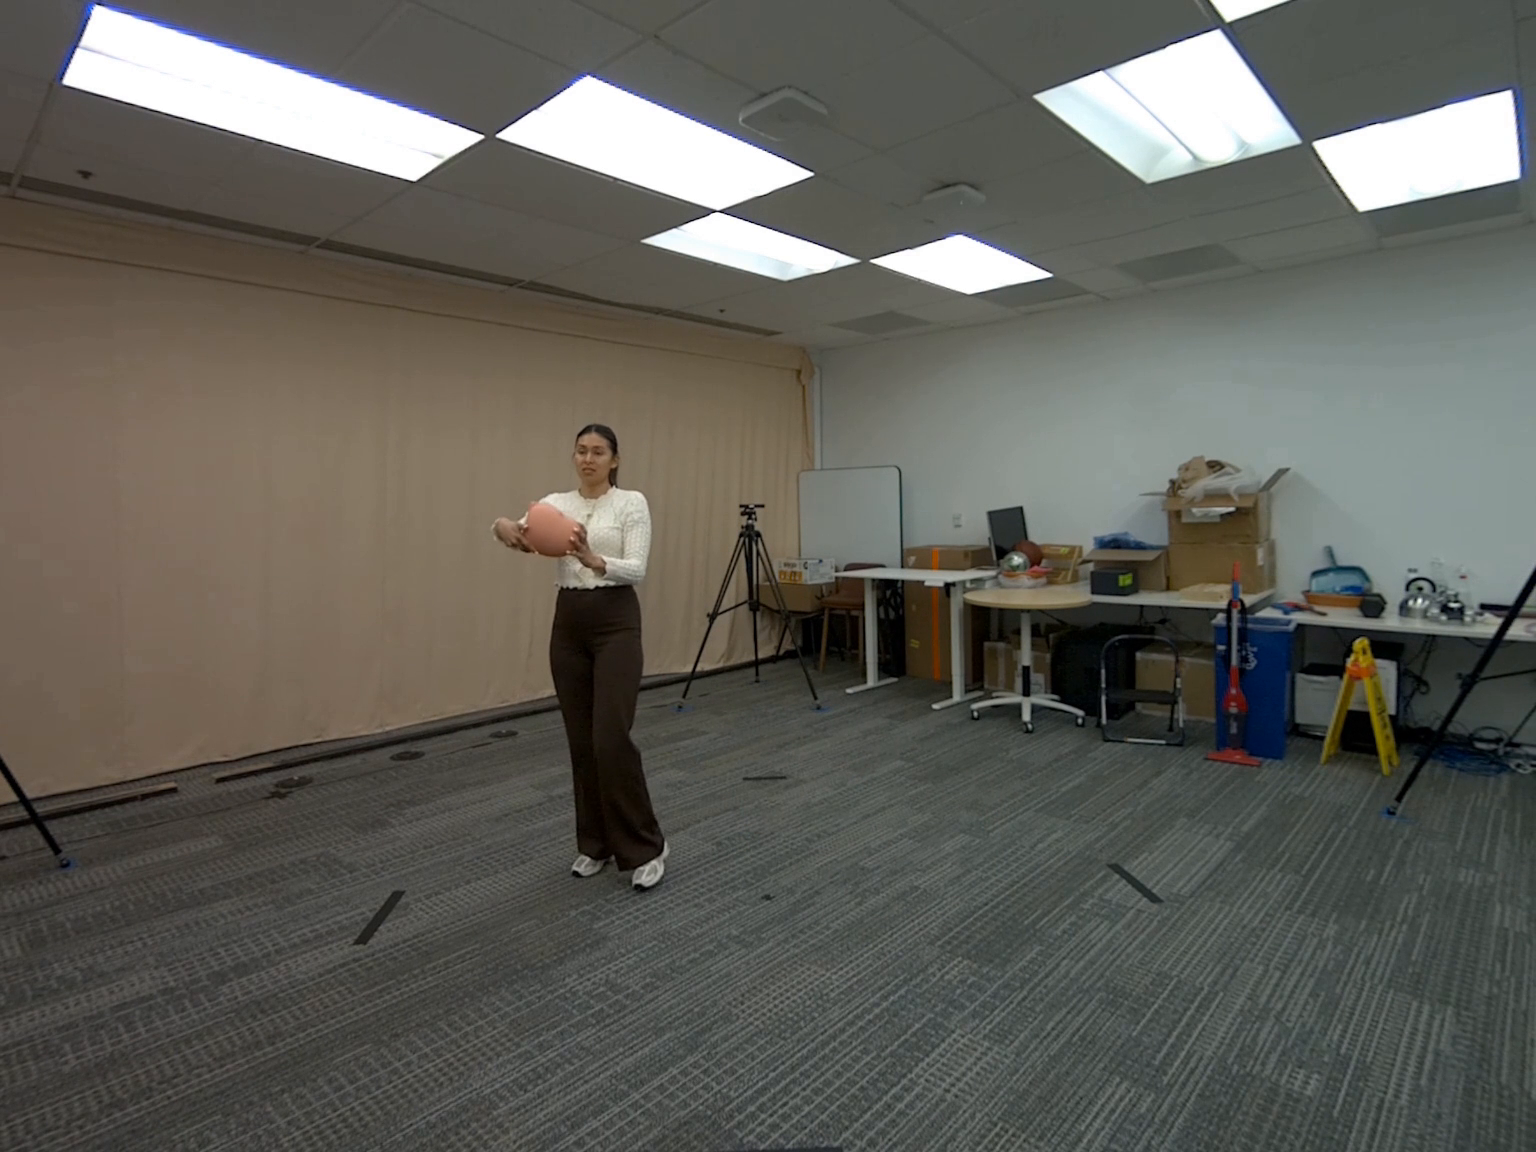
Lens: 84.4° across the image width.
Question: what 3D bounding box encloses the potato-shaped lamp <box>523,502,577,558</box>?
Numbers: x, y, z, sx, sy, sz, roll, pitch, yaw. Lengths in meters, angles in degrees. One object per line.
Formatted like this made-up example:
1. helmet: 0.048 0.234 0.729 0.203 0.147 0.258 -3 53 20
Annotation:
1. potato-shaped lamp: -0.727 -0.156 2.825 0.195 0.173 0.166 6 -13 -13
